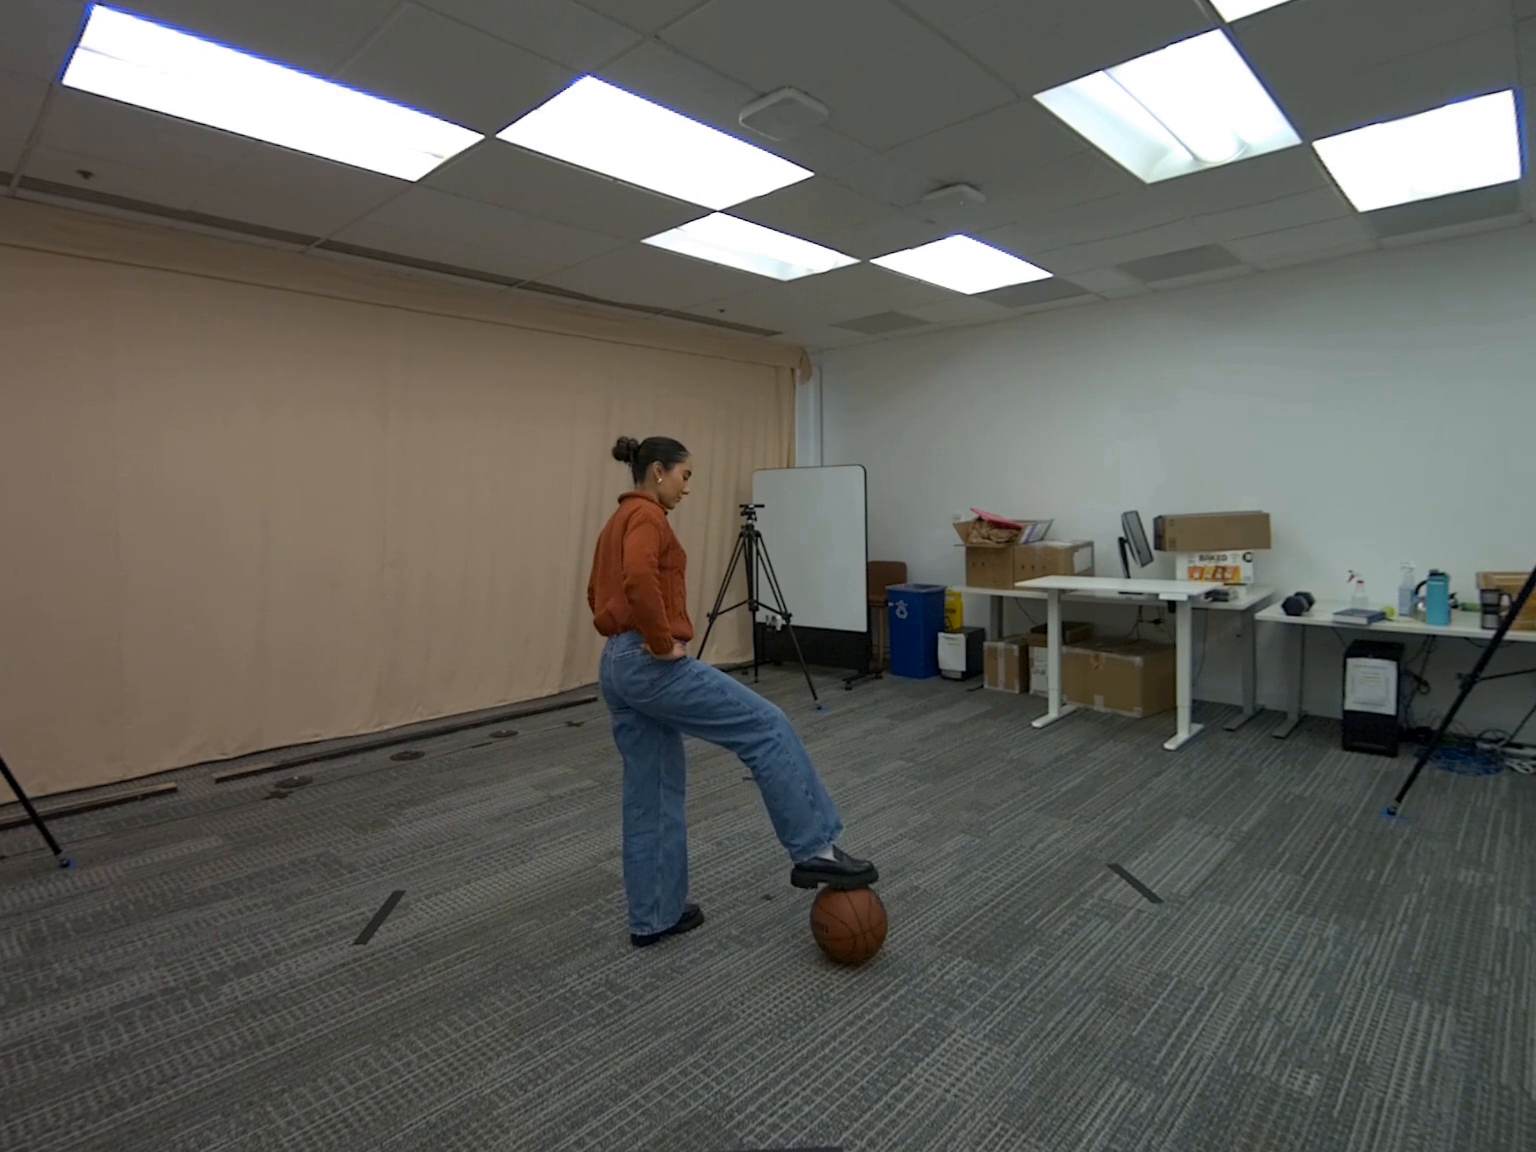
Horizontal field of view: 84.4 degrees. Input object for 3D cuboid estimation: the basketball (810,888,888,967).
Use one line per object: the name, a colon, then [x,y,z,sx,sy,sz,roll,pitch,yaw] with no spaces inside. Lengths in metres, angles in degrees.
basketball: [0.247,1.052,2.568,0.236,0.235,0.237,-1,4,-2]
